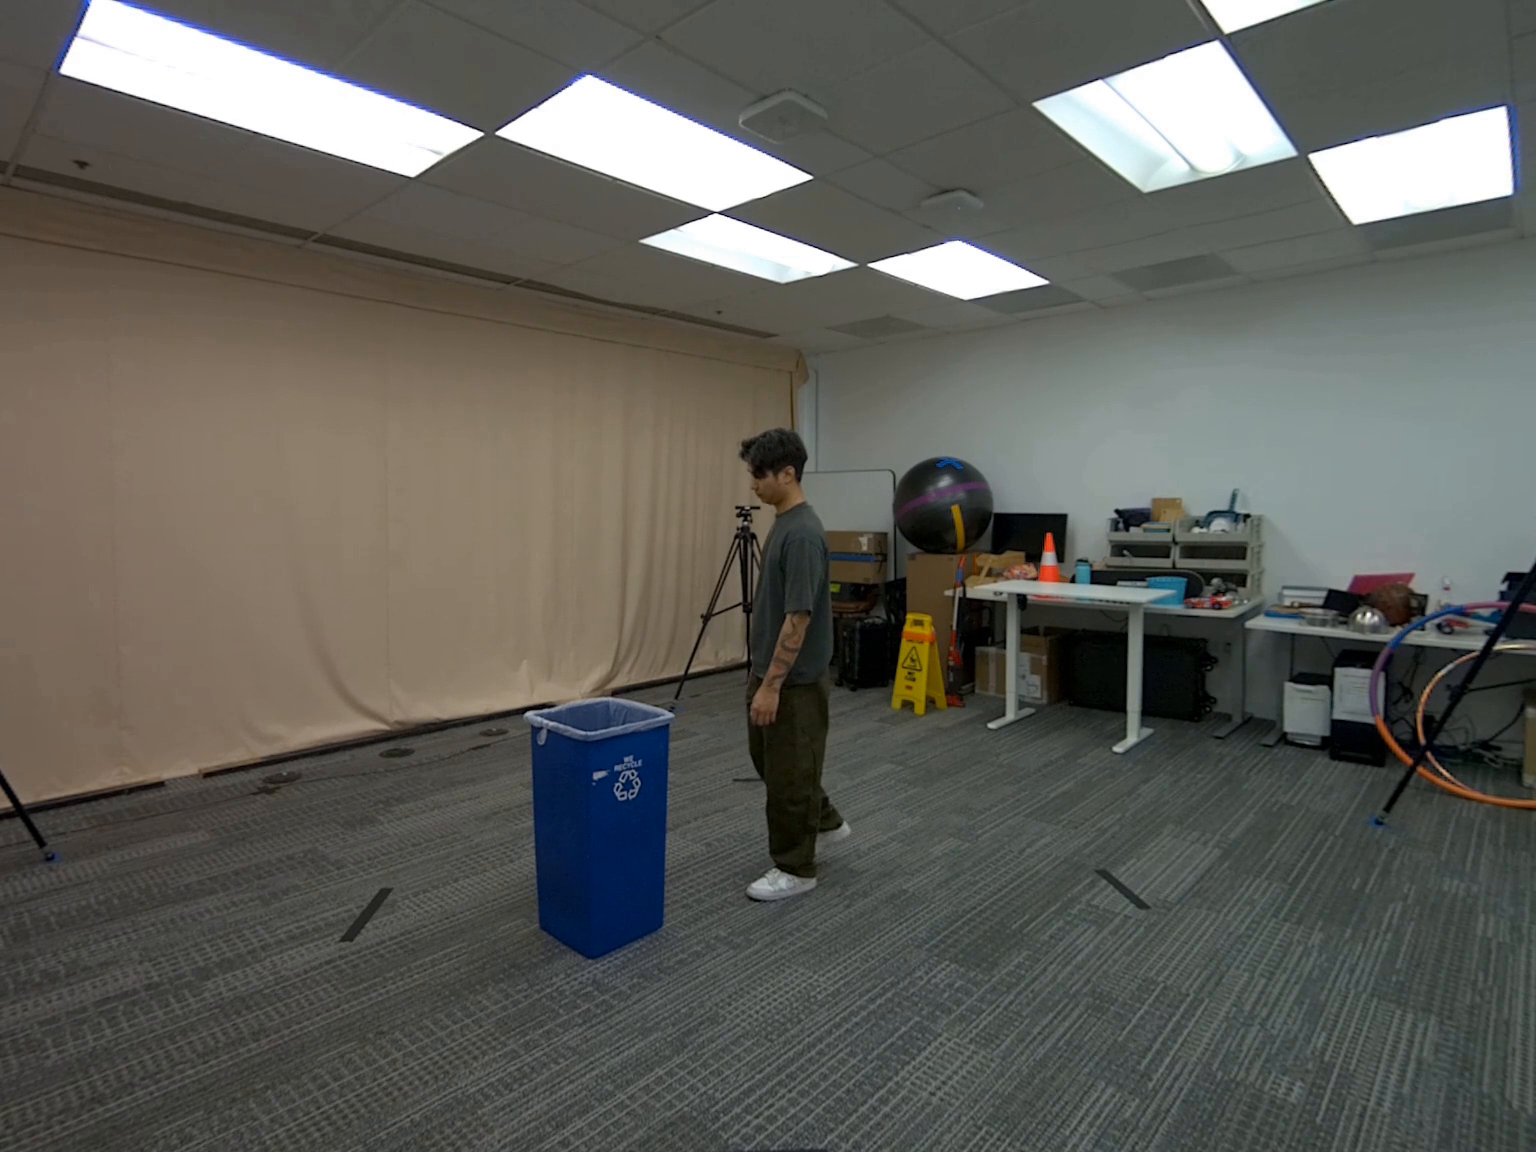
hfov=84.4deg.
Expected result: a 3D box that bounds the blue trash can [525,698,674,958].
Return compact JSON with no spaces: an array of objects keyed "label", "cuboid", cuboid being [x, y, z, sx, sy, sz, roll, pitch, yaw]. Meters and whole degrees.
[{"label":"blue trash can","cuboid":[-0.550,0.807,2.781,0.390,0.712,0.362,3,4,43]}]
